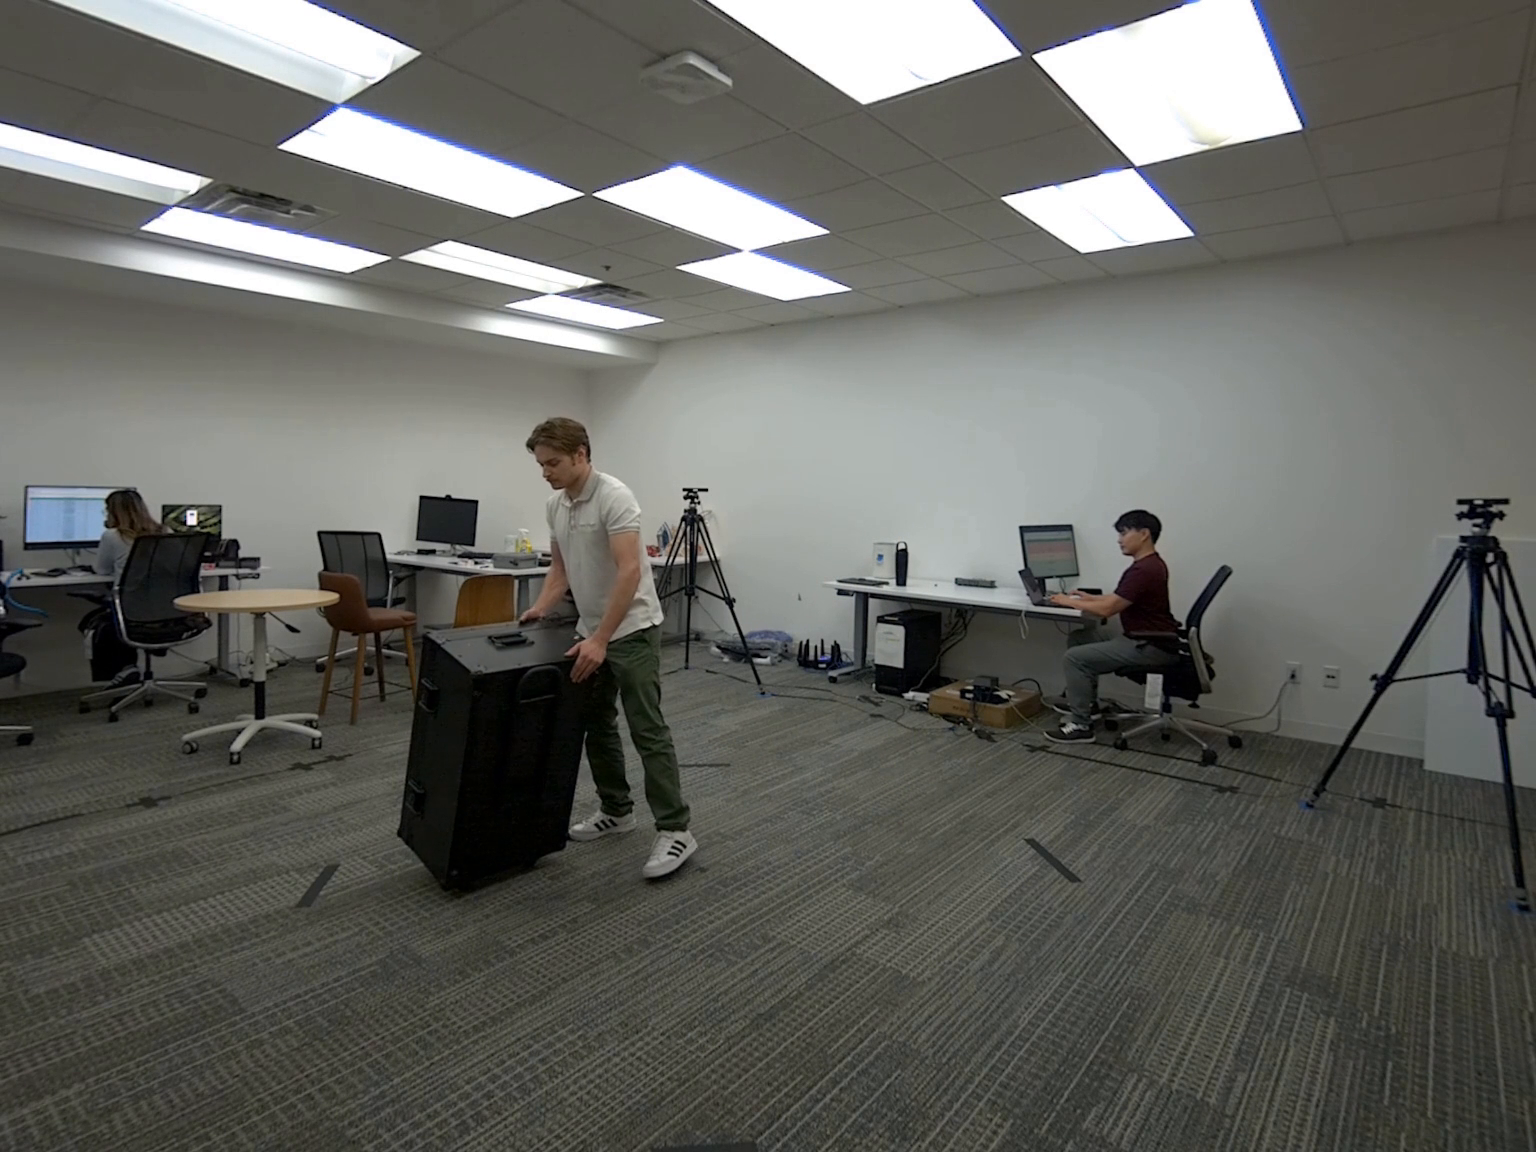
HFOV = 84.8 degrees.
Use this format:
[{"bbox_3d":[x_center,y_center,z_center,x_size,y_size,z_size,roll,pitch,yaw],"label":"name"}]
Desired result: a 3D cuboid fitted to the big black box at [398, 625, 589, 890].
[{"bbox_3d":[-0.965,0.632,2.999,0.401,0.860,0.507,23,18,40],"label":"big black box"}]
